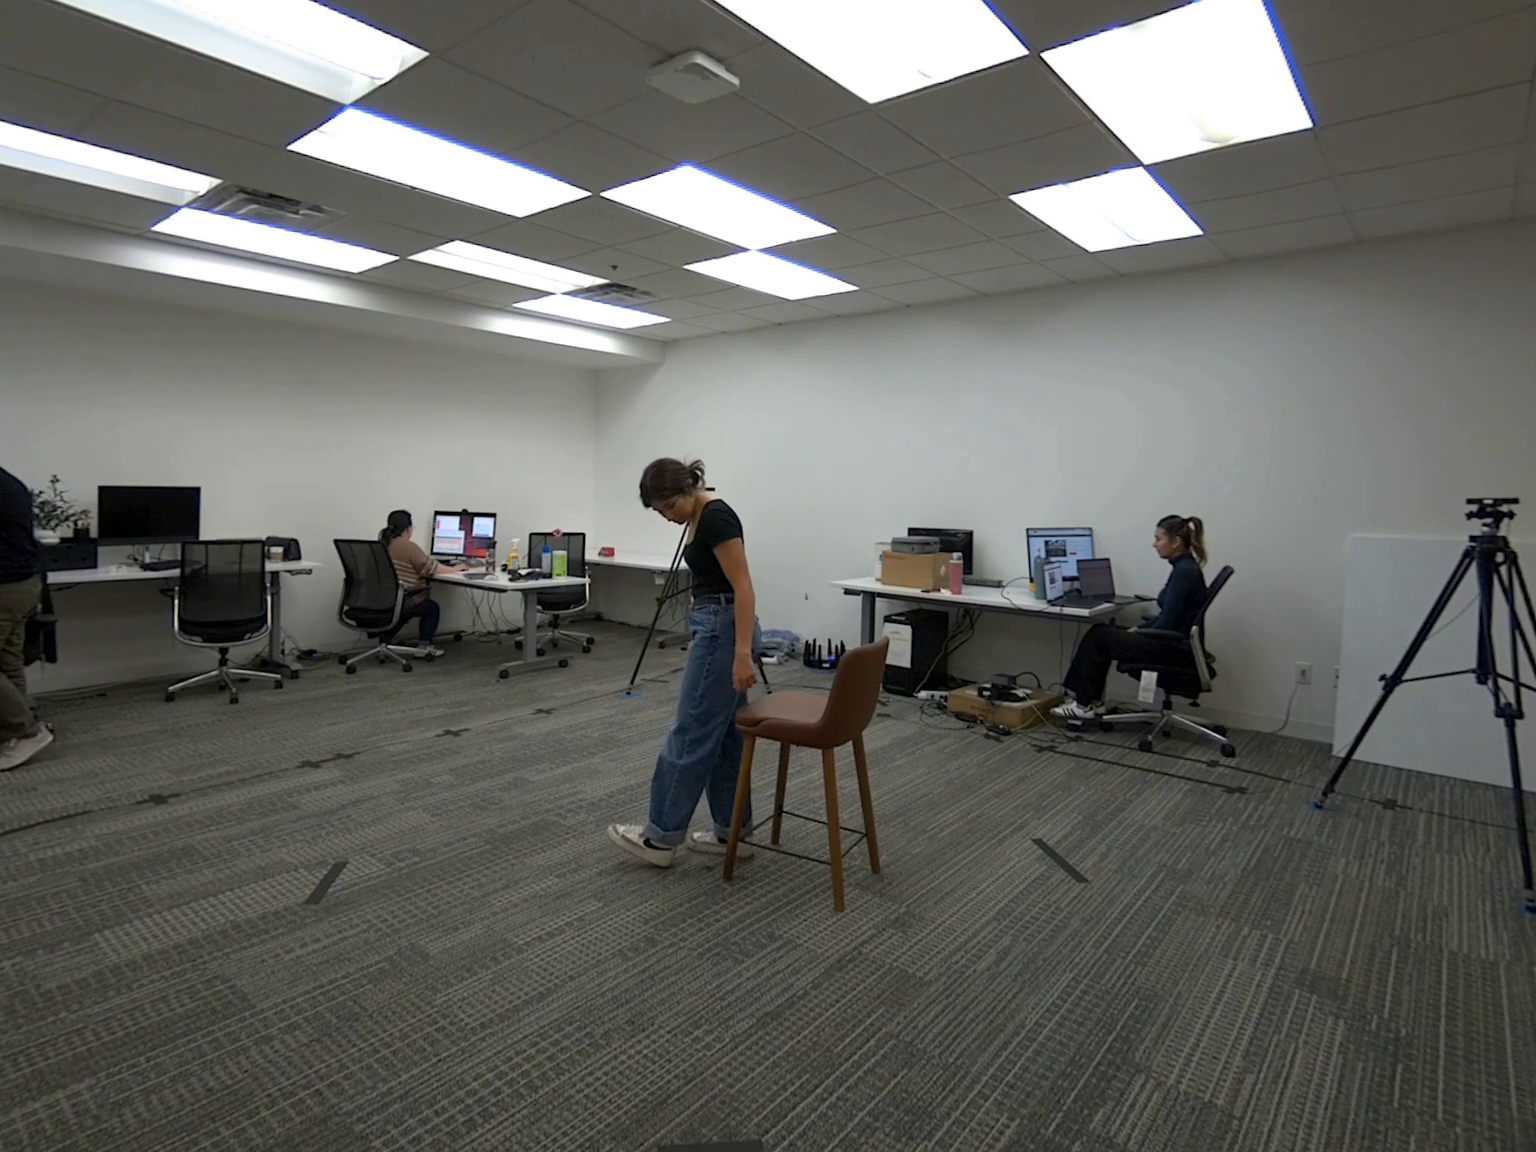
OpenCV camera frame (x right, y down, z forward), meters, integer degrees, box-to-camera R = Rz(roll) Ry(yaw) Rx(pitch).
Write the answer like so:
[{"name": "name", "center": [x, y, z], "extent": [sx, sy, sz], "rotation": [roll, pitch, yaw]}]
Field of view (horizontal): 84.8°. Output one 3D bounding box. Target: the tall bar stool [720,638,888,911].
[{"name": "tall bar stool", "center": [0.138, 0.645, 3.049], "extent": [0.482, 0.886, 0.445], "rotation": [5, 5, 29]}]
